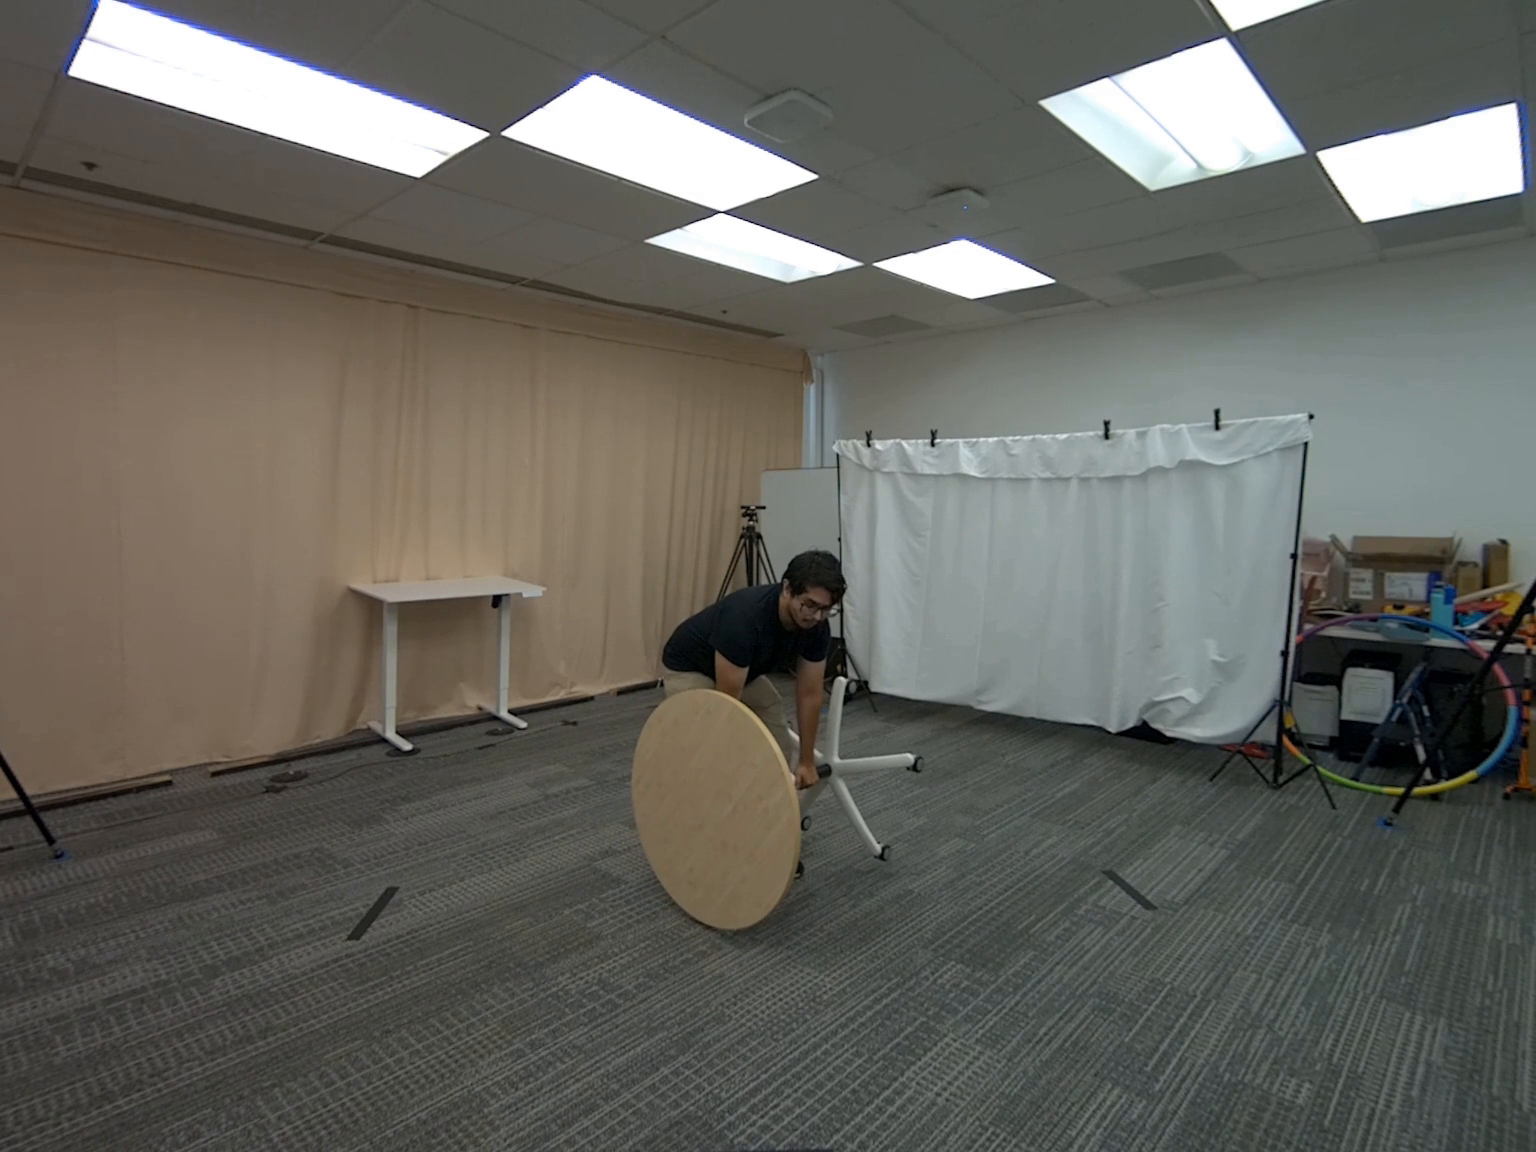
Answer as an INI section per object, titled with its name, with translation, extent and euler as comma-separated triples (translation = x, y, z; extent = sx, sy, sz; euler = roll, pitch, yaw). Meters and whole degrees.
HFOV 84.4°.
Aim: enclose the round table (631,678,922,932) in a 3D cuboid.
[round table]
translation = 0.060, 0.744, 3.049
extent = 0.811, 0.784, 0.762
euler = 3, 4, 42
